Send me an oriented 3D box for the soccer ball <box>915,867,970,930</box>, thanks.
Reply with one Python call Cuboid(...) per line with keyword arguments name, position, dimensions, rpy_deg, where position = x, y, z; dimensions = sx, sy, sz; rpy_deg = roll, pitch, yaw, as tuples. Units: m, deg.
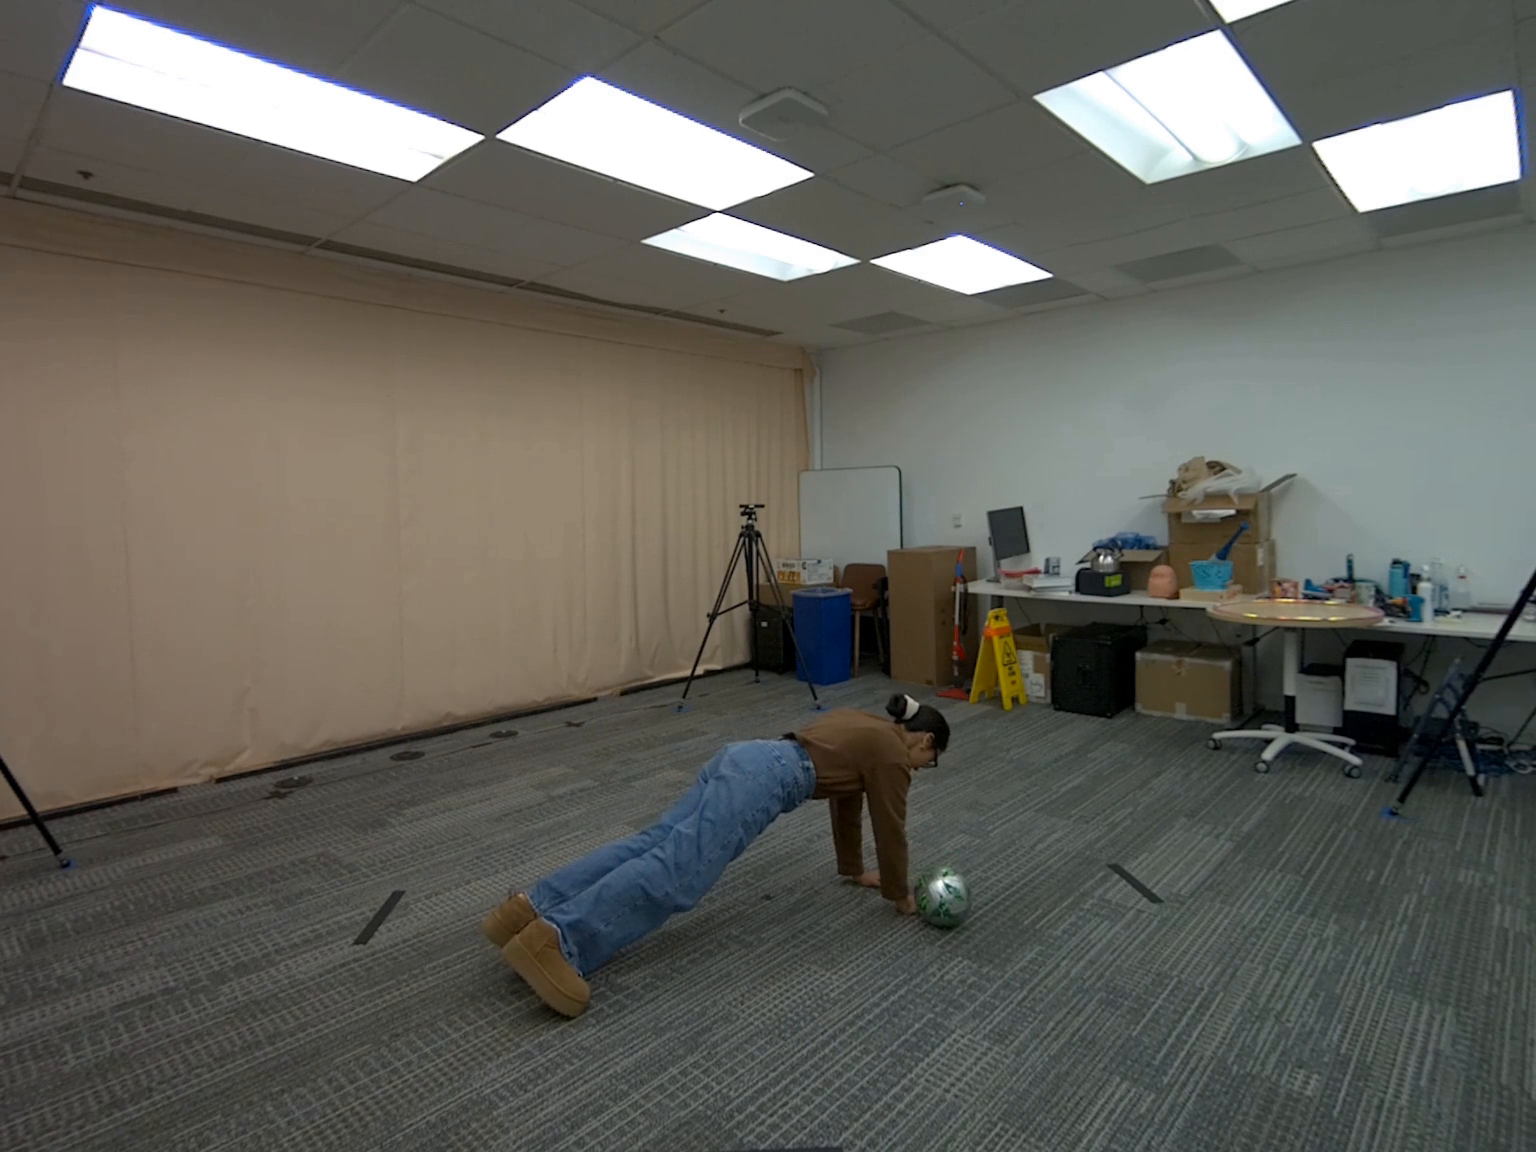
Cuboid(name="soccer ball", position=(0.582, 1.057, 2.763), dimensions=(0.187, 0.187, 0.188), rpy_deg=(-1, 4, -2))
